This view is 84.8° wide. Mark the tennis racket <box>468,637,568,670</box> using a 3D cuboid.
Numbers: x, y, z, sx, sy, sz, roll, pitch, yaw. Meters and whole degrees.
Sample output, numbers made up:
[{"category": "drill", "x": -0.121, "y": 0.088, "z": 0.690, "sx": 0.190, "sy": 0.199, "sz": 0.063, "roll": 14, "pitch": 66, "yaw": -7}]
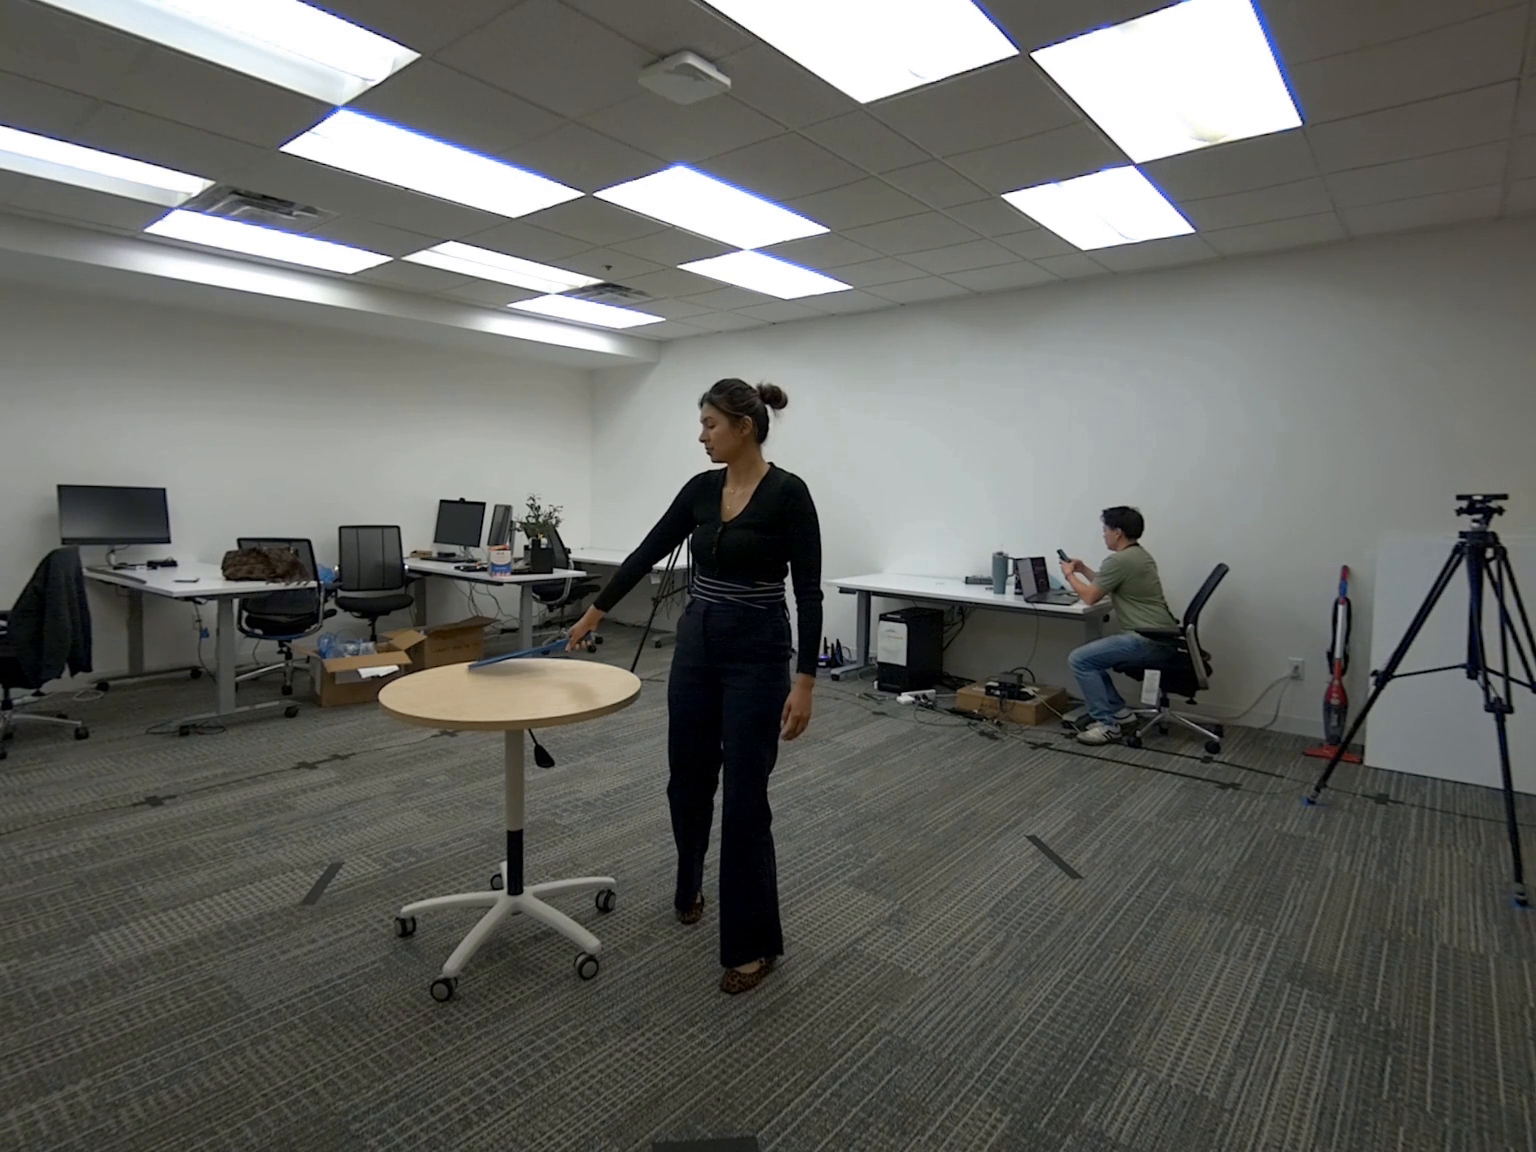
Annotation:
[{"category": "tennis racket", "x": -0.791, "y": 0.250, "z": 2.767, "sx": 0.436, "sy": 0.032, "sz": 0.212, "roll": -14, "pitch": 1, "yaw": 9}]
